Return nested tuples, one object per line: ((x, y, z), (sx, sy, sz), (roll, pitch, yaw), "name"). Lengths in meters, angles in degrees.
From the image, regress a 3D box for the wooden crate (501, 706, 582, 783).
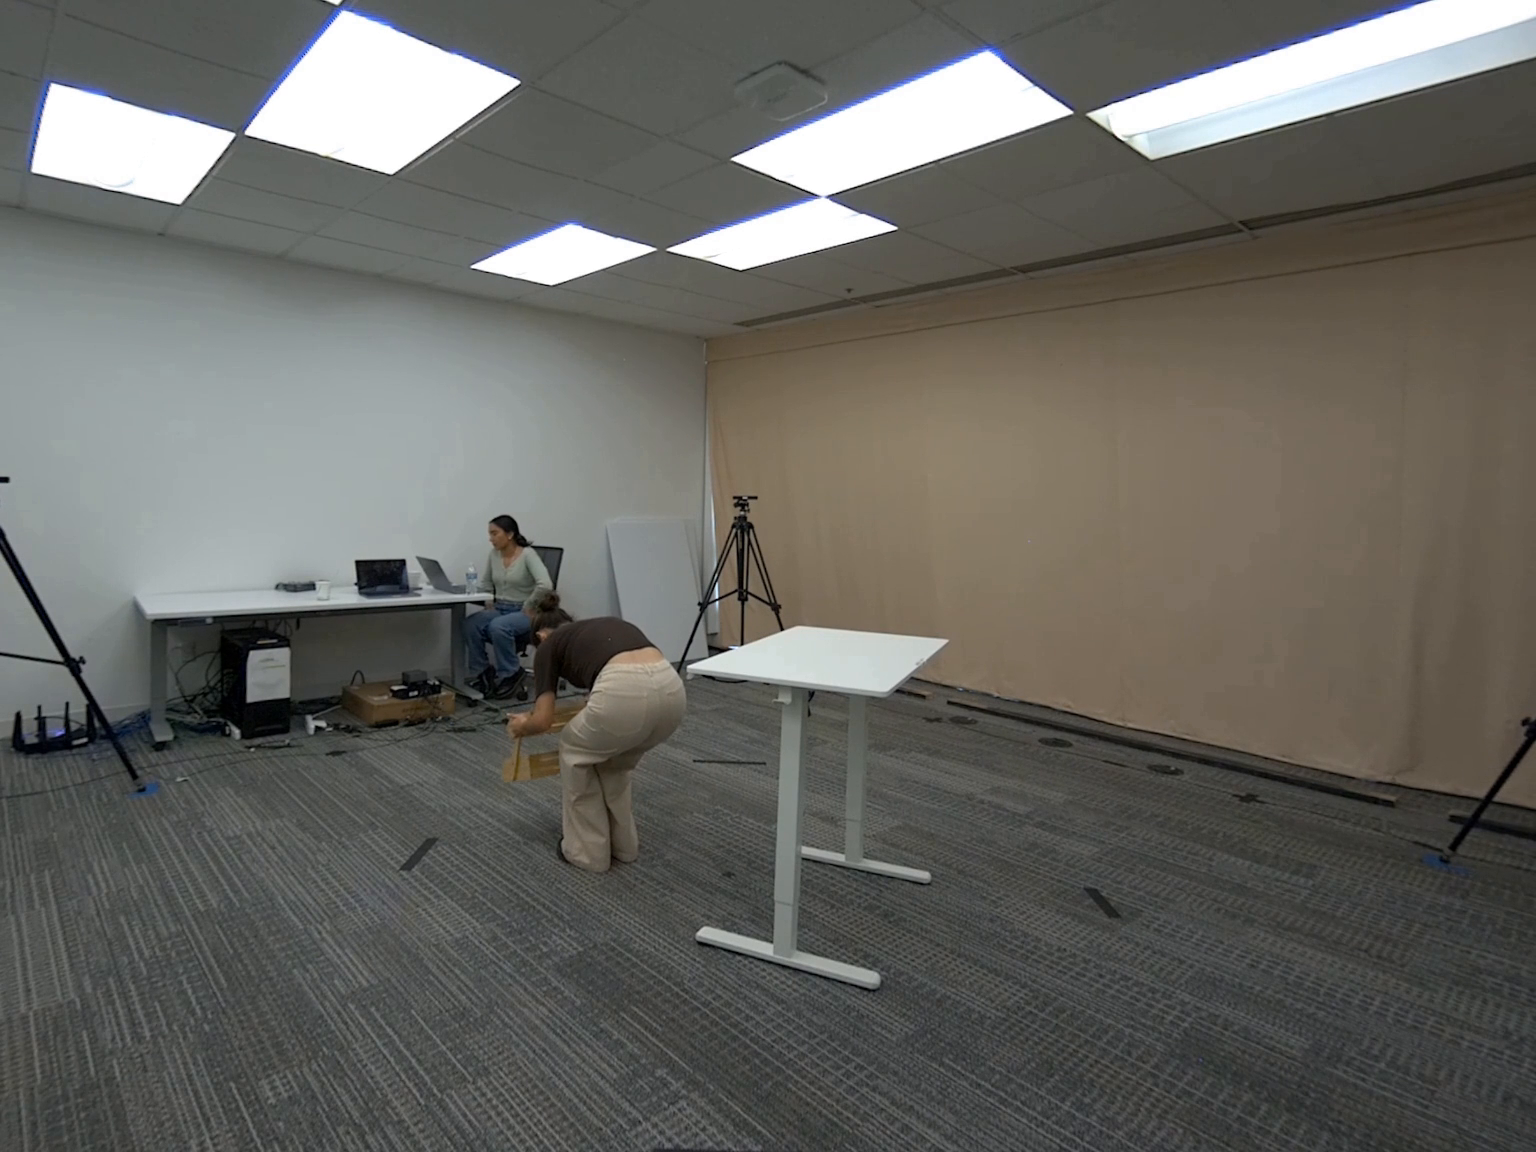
((-0.922, 0.685, 3.486), (0.317, 0.275, 0.307), (0, -12, -46), "wooden crate")
